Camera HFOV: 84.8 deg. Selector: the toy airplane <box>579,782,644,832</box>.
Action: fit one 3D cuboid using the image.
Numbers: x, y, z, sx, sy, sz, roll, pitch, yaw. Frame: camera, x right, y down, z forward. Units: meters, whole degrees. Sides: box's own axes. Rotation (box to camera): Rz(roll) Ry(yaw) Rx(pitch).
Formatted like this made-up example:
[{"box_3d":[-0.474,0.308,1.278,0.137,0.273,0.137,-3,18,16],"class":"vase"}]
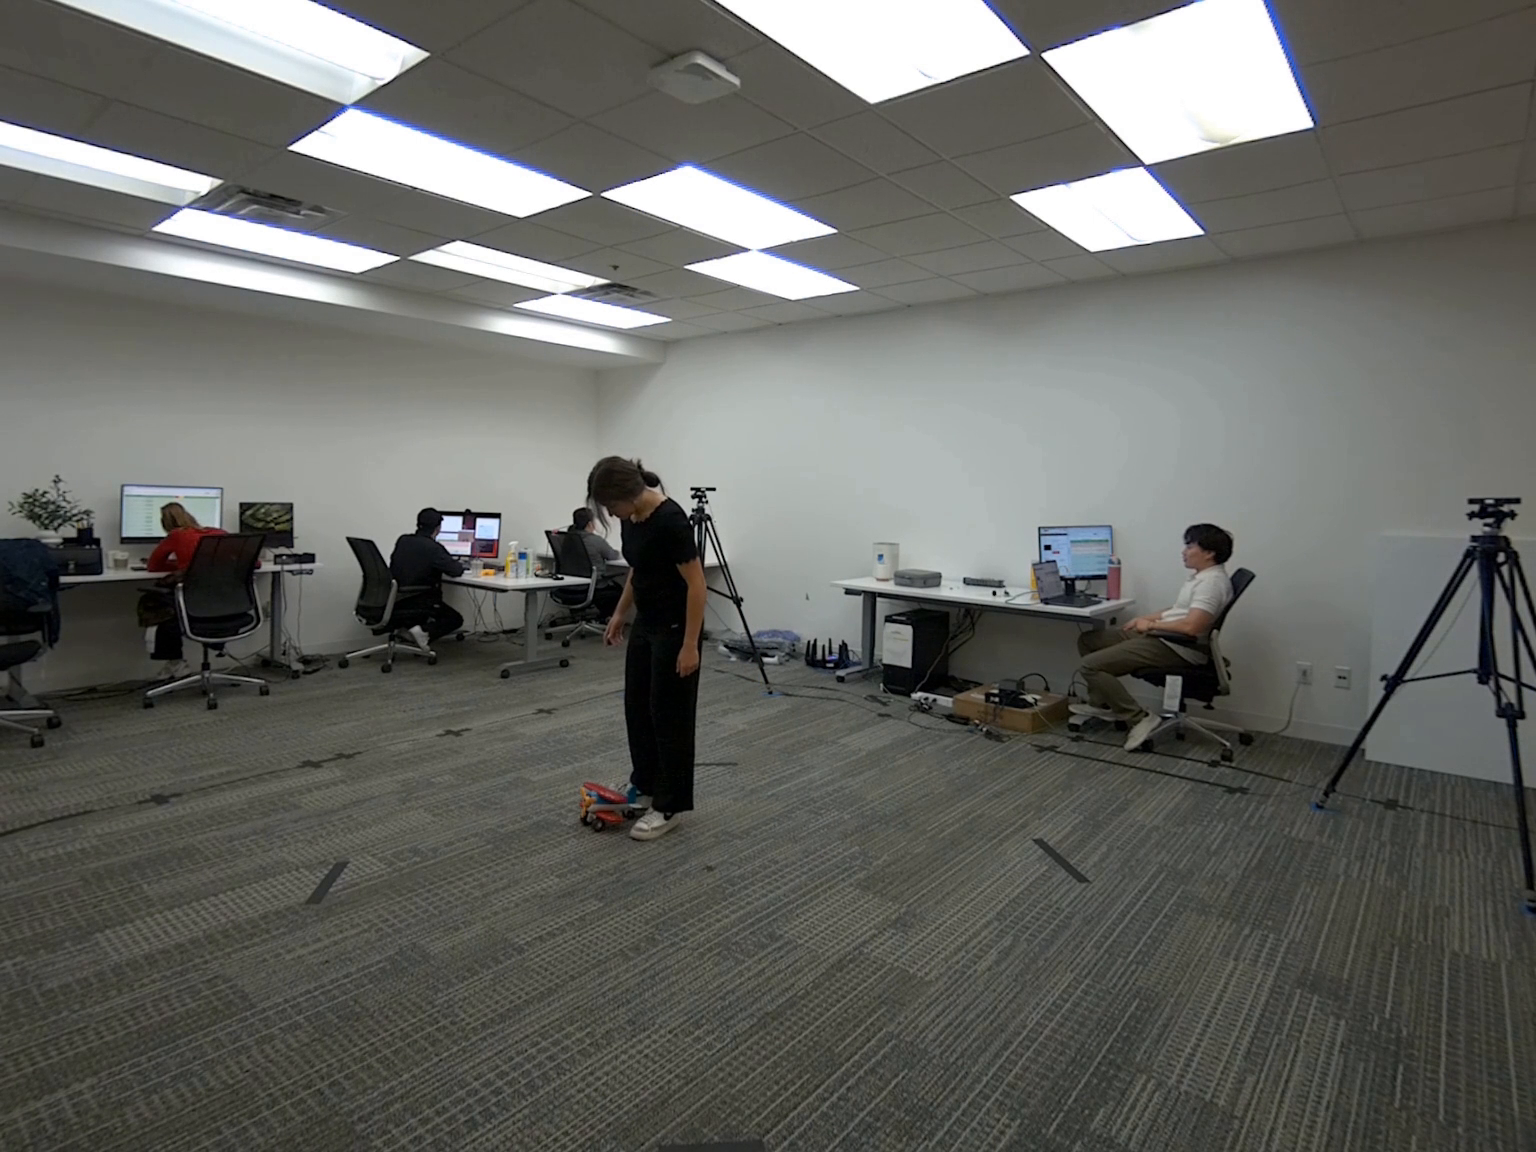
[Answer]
[{"box_3d":[-0.679,0.944,3.529,0.256,0.156,0.255,3,6,18],"class":"toy airplane"}]
